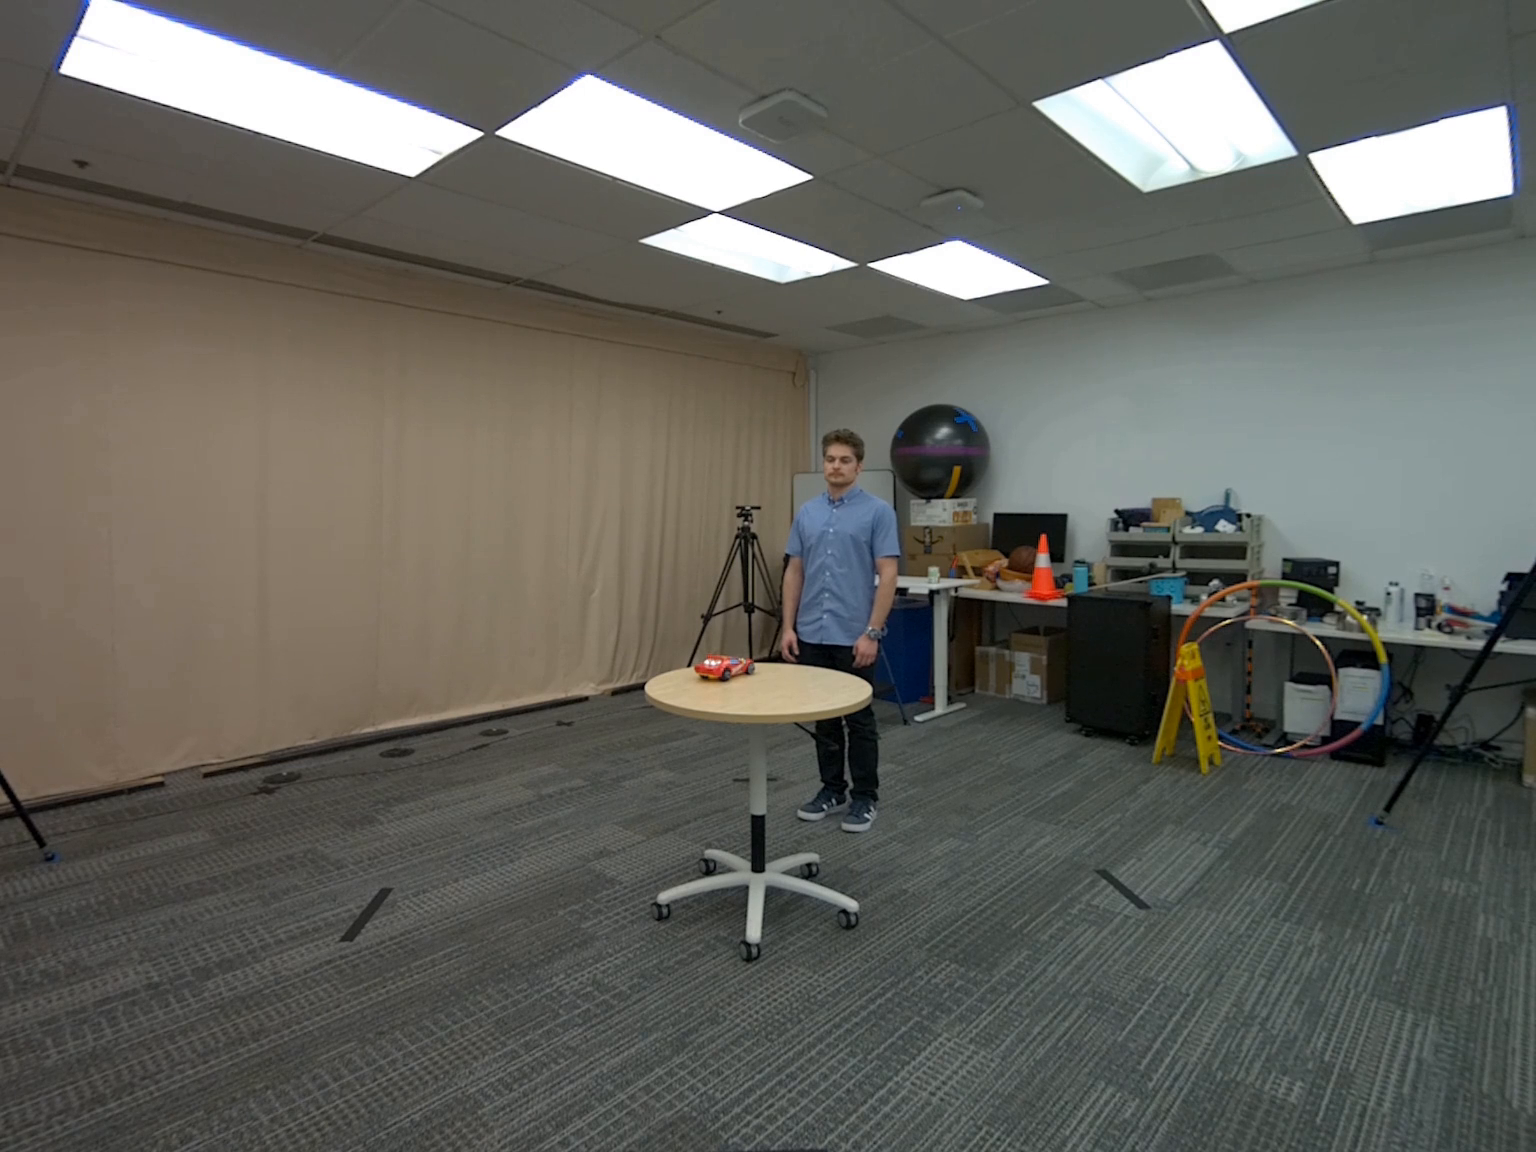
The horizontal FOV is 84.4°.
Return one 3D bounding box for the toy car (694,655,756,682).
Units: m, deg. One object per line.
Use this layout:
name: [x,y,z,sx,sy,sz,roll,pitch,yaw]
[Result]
toy car: [-0.156,0.328,2.985,0.134,0.083,0.246,4,-5,36]
